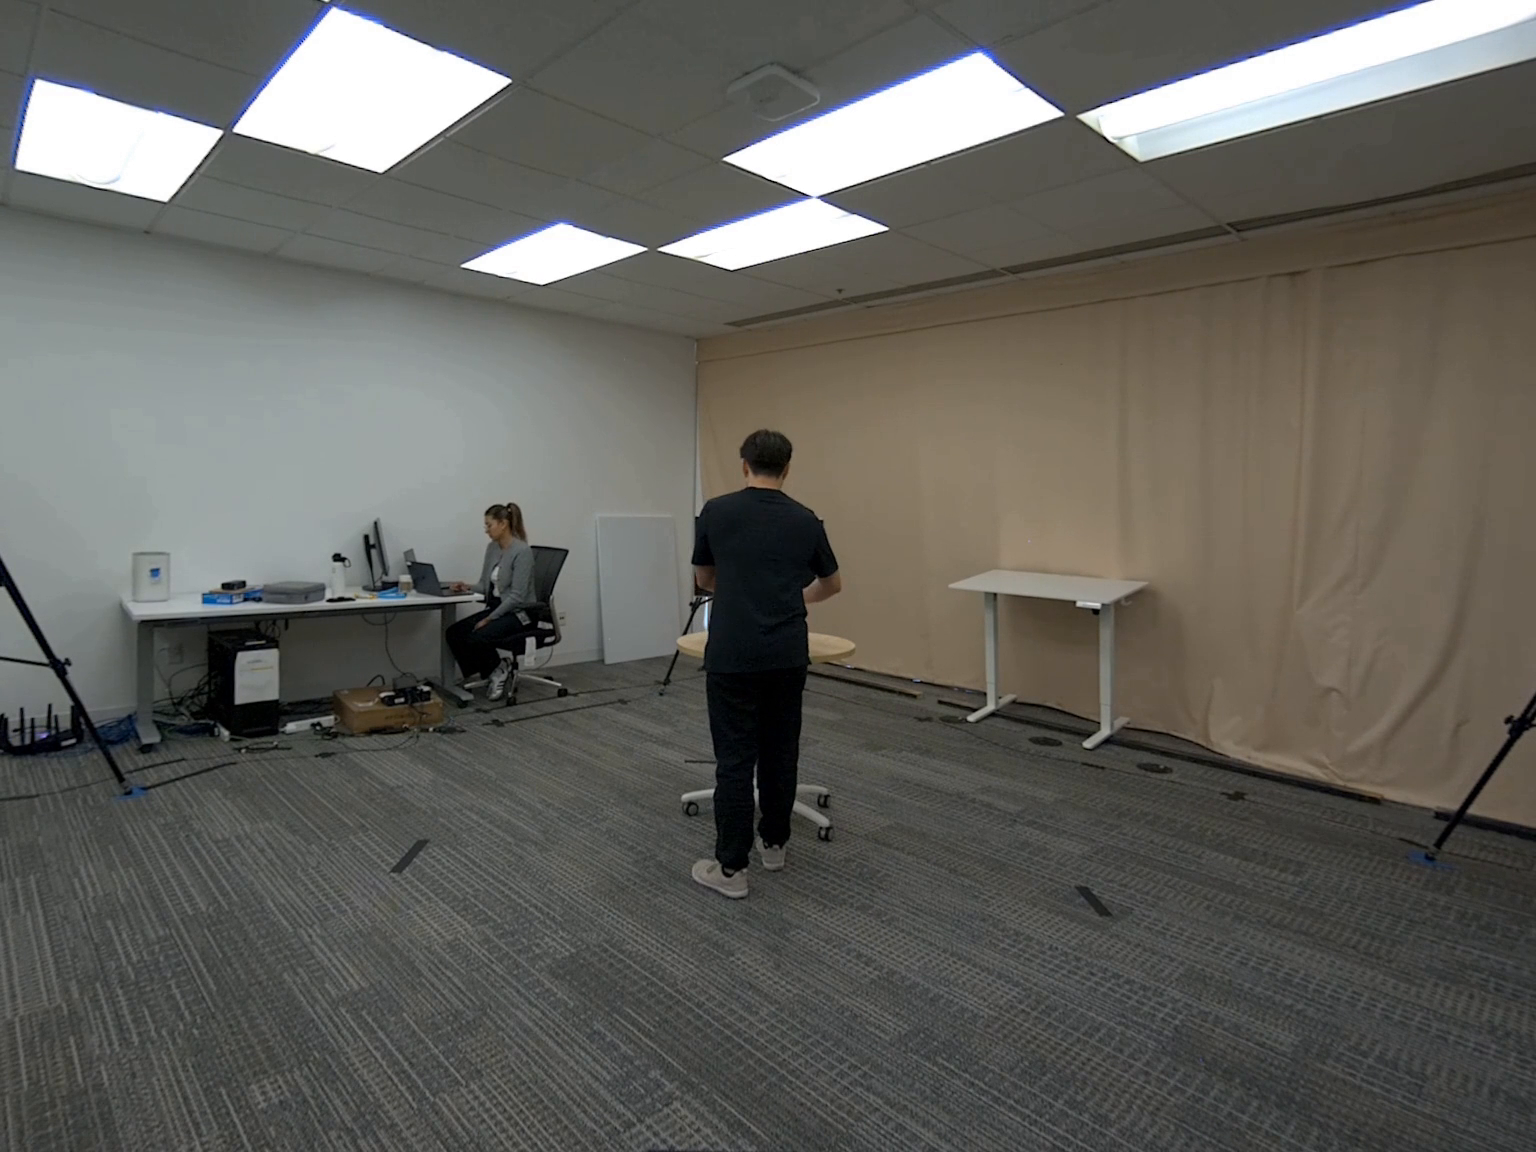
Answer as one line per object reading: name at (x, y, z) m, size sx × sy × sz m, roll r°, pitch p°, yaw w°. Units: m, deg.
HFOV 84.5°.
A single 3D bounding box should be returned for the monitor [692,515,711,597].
monitor at (-0.043, 0.024, 3.610) m, size 0.540 × 0.522 × 0.187 m, roll 2°, pitch 1°, yaw 3°
